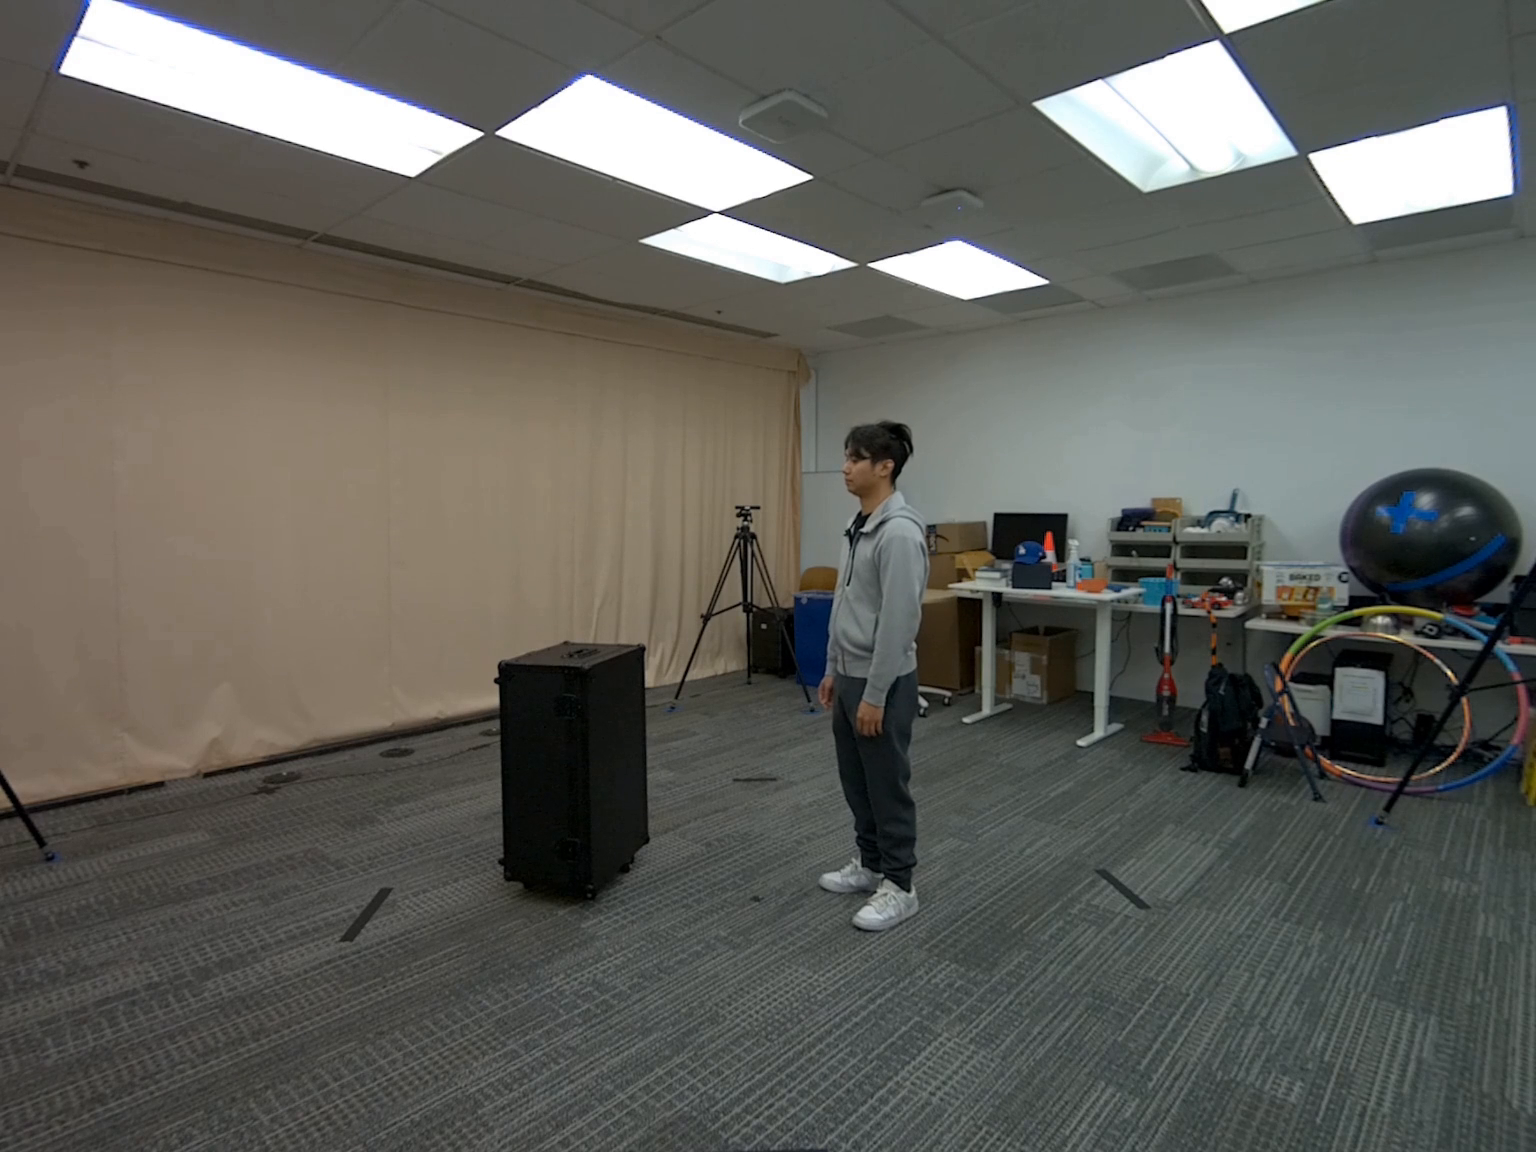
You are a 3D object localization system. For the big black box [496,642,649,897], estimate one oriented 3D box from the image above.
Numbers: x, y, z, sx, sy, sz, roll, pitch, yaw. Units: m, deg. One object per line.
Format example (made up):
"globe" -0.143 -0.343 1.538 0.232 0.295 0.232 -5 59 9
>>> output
"big black box" -0.722 0.709 3.149 0.404 0.860 0.512 1 3 18
